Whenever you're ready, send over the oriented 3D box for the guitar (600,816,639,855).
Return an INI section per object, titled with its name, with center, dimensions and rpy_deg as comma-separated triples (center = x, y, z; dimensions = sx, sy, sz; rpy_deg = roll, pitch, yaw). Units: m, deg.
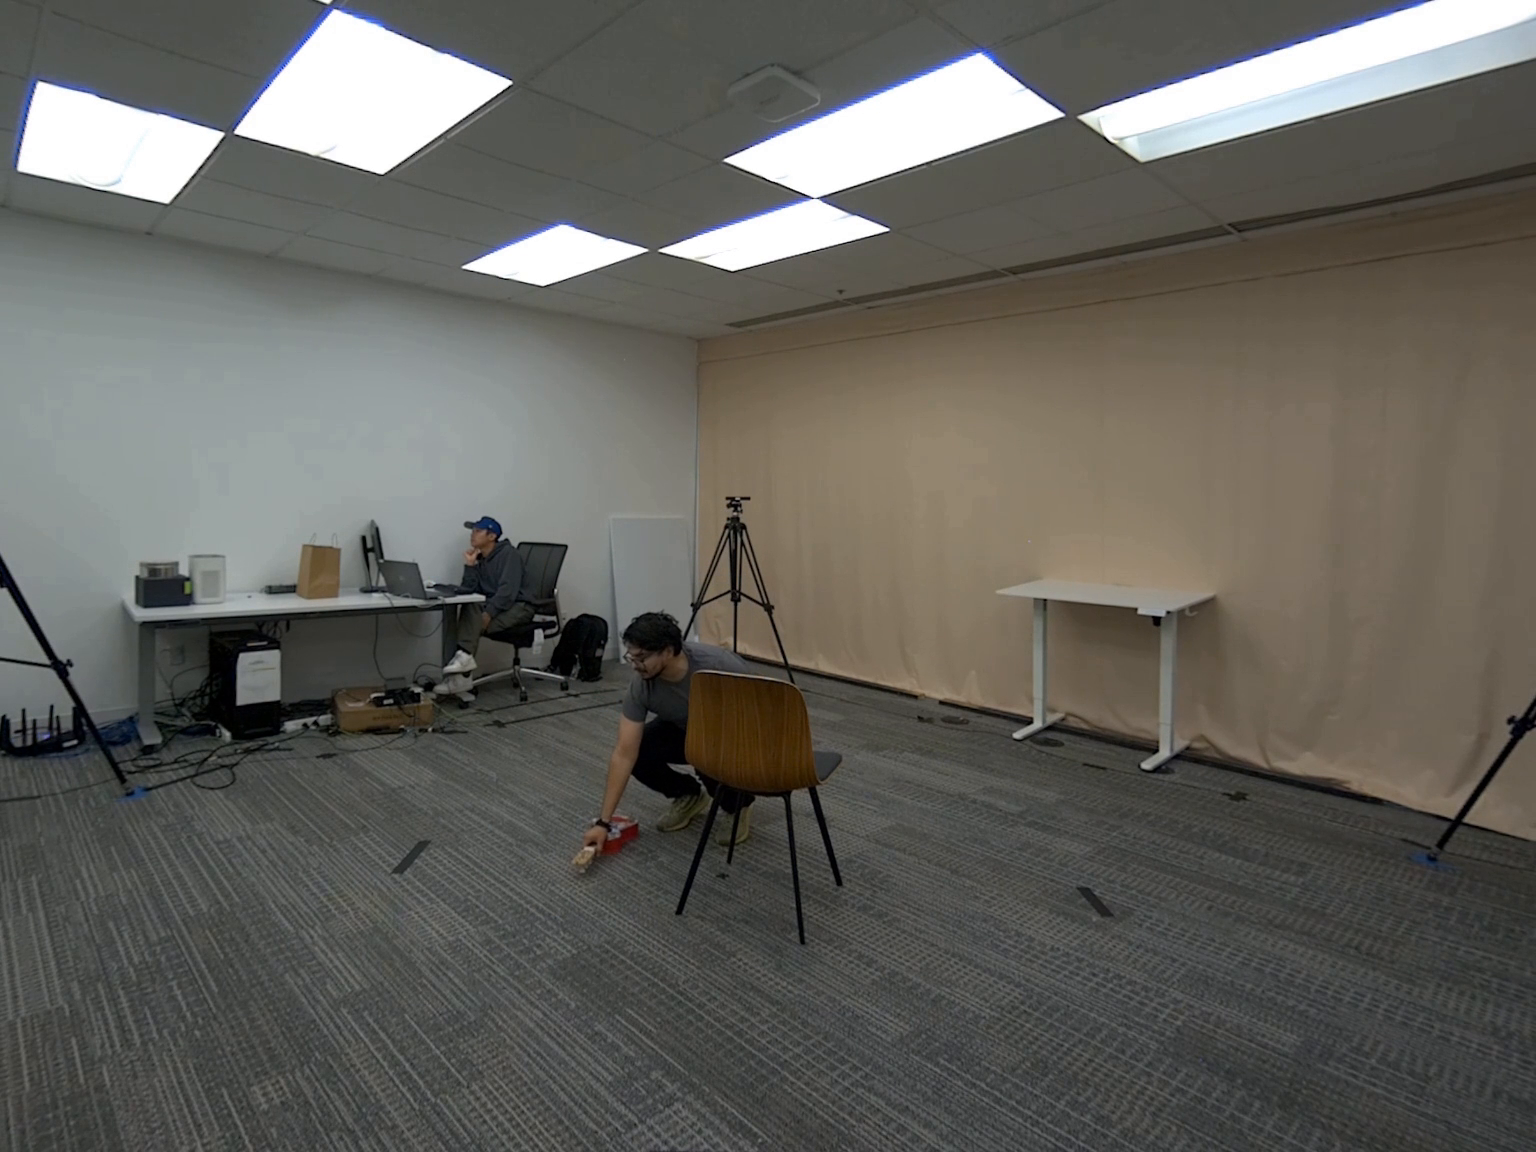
[guitar]
center = -0.682, 1.040, 3.289
dimensions = 0.196, 0.070, 0.492
rpy_deg = 3, 5, 16
